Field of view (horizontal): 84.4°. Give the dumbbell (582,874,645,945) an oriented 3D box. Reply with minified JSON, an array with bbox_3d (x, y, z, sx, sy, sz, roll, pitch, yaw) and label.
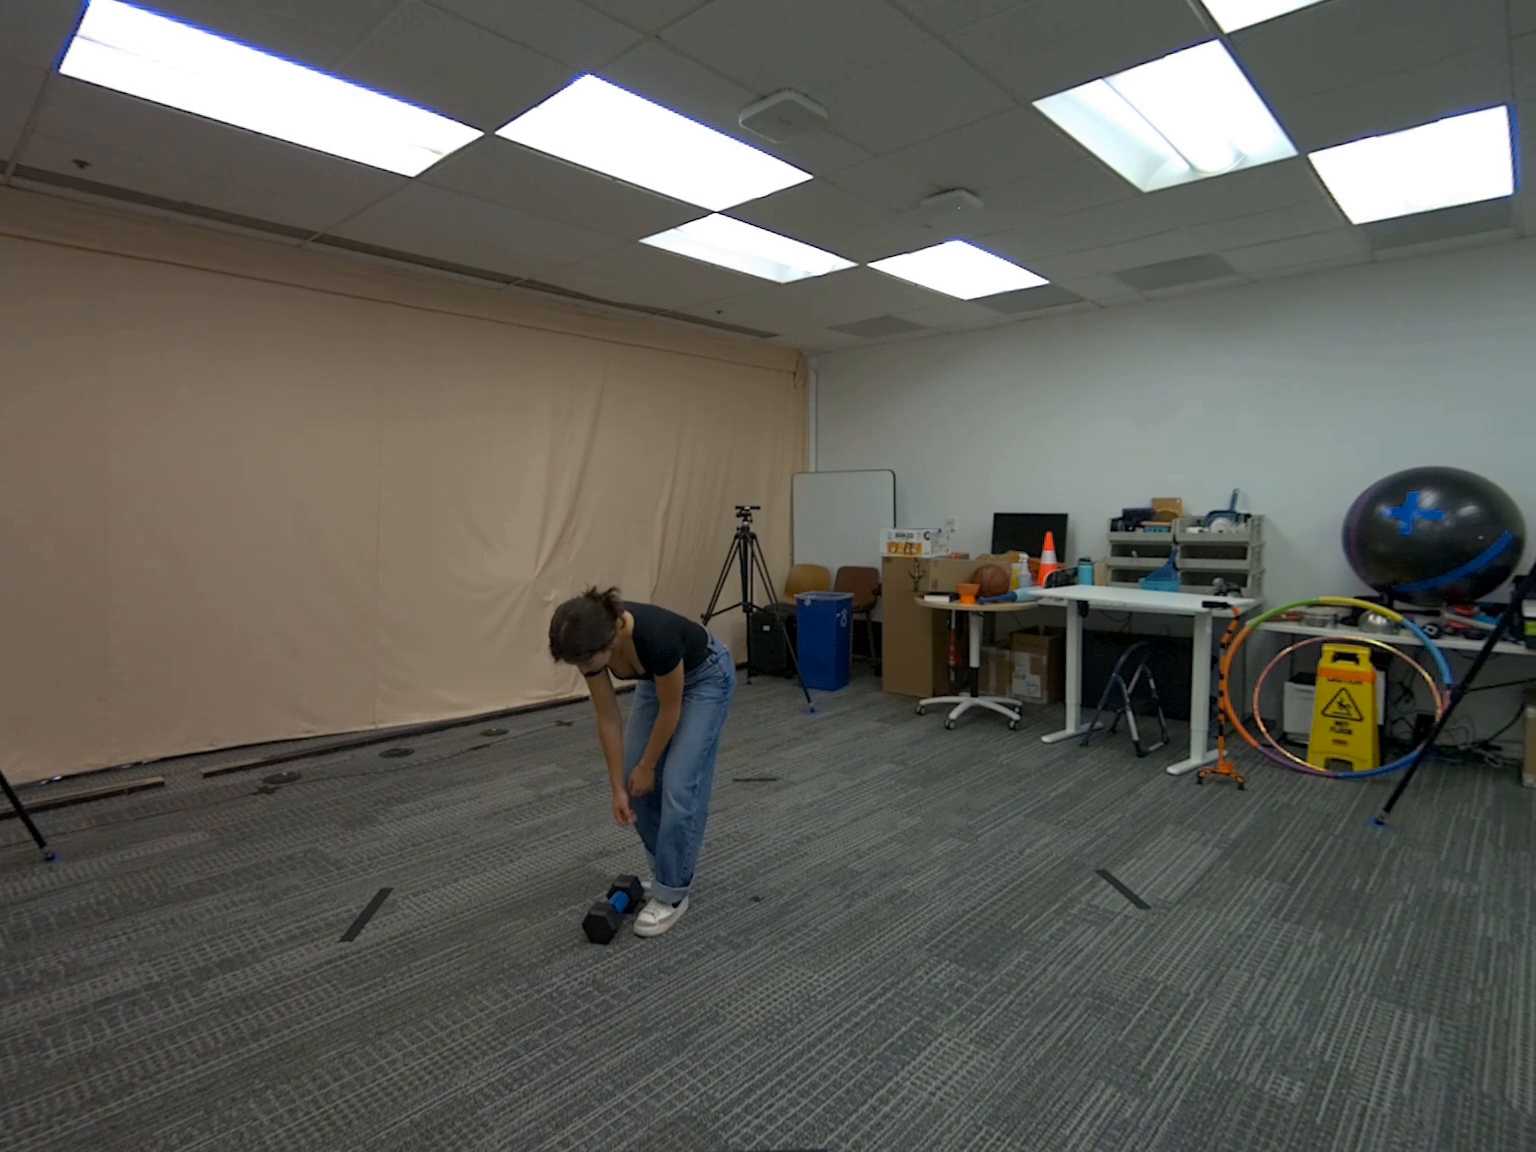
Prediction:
[{"bbox_3d":[-0.510,1.108,2.811,0.109,0.123,0.290,-30,-2,12],"label":"dumbbell"}]
